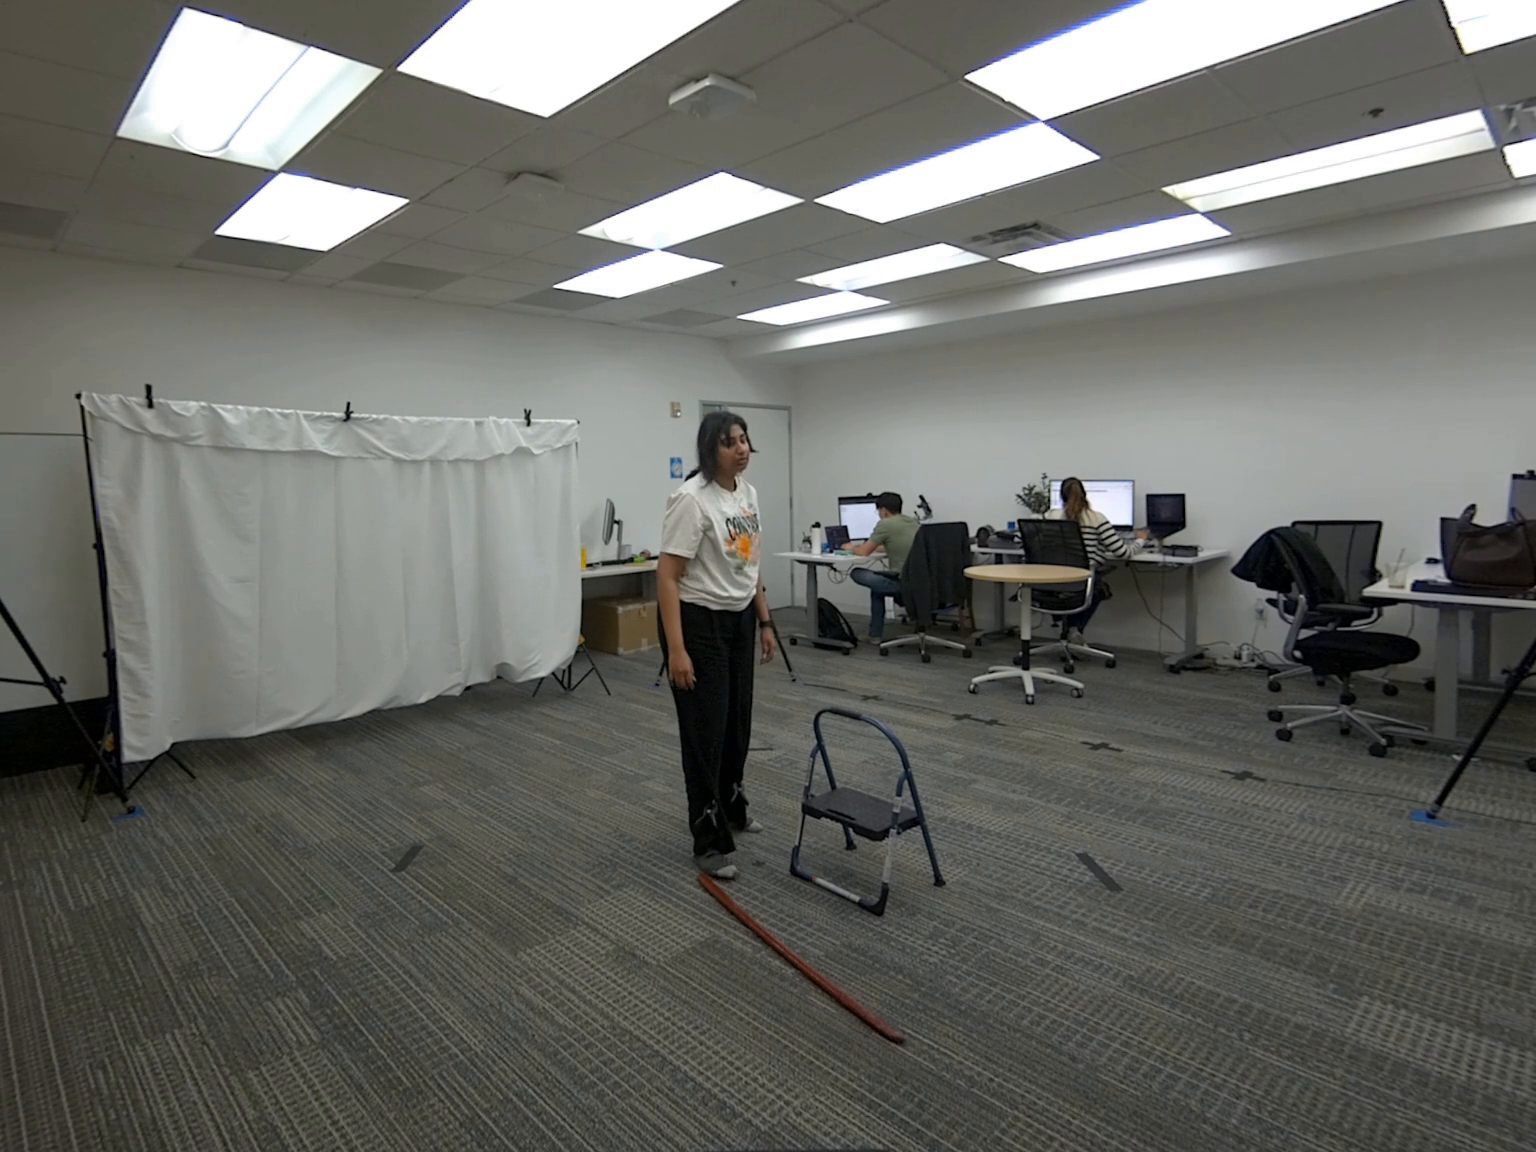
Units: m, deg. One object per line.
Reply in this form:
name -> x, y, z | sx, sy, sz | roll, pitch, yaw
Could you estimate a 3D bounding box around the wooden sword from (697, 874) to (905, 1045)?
wooden sword -> 0.048, 1.089, 2.547 | 0.051, 0.023, 1.055 | -49, 28, -18
